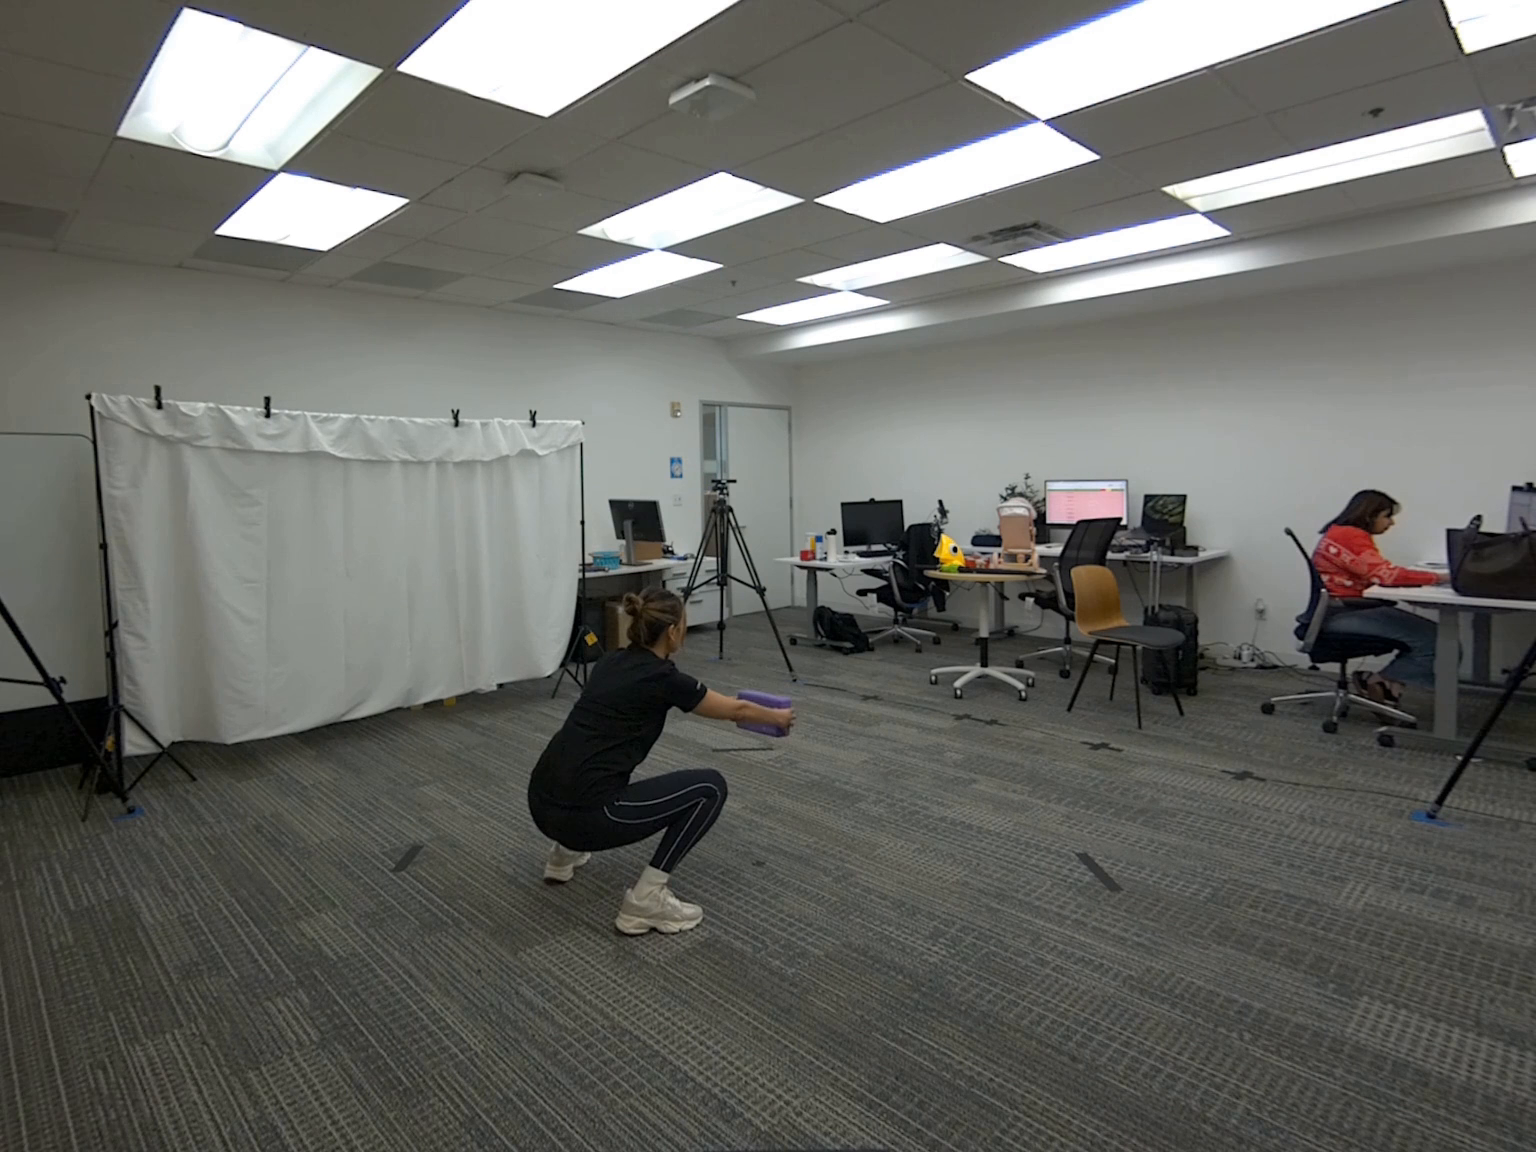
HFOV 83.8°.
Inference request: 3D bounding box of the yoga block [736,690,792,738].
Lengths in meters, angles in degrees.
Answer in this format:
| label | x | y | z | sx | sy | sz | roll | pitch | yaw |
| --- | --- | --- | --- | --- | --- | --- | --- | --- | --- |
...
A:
| label | x | y | z | sx | sy | sz | roll | pitch | yaw |
| --- | --- | --- | --- | --- | --- | --- | --- | --- | --- |
| yoga block | -0.022 | 0.540 | 3.387 | 0.236 | 0.149 | 0.074 | 4 | 0 | 44 |
